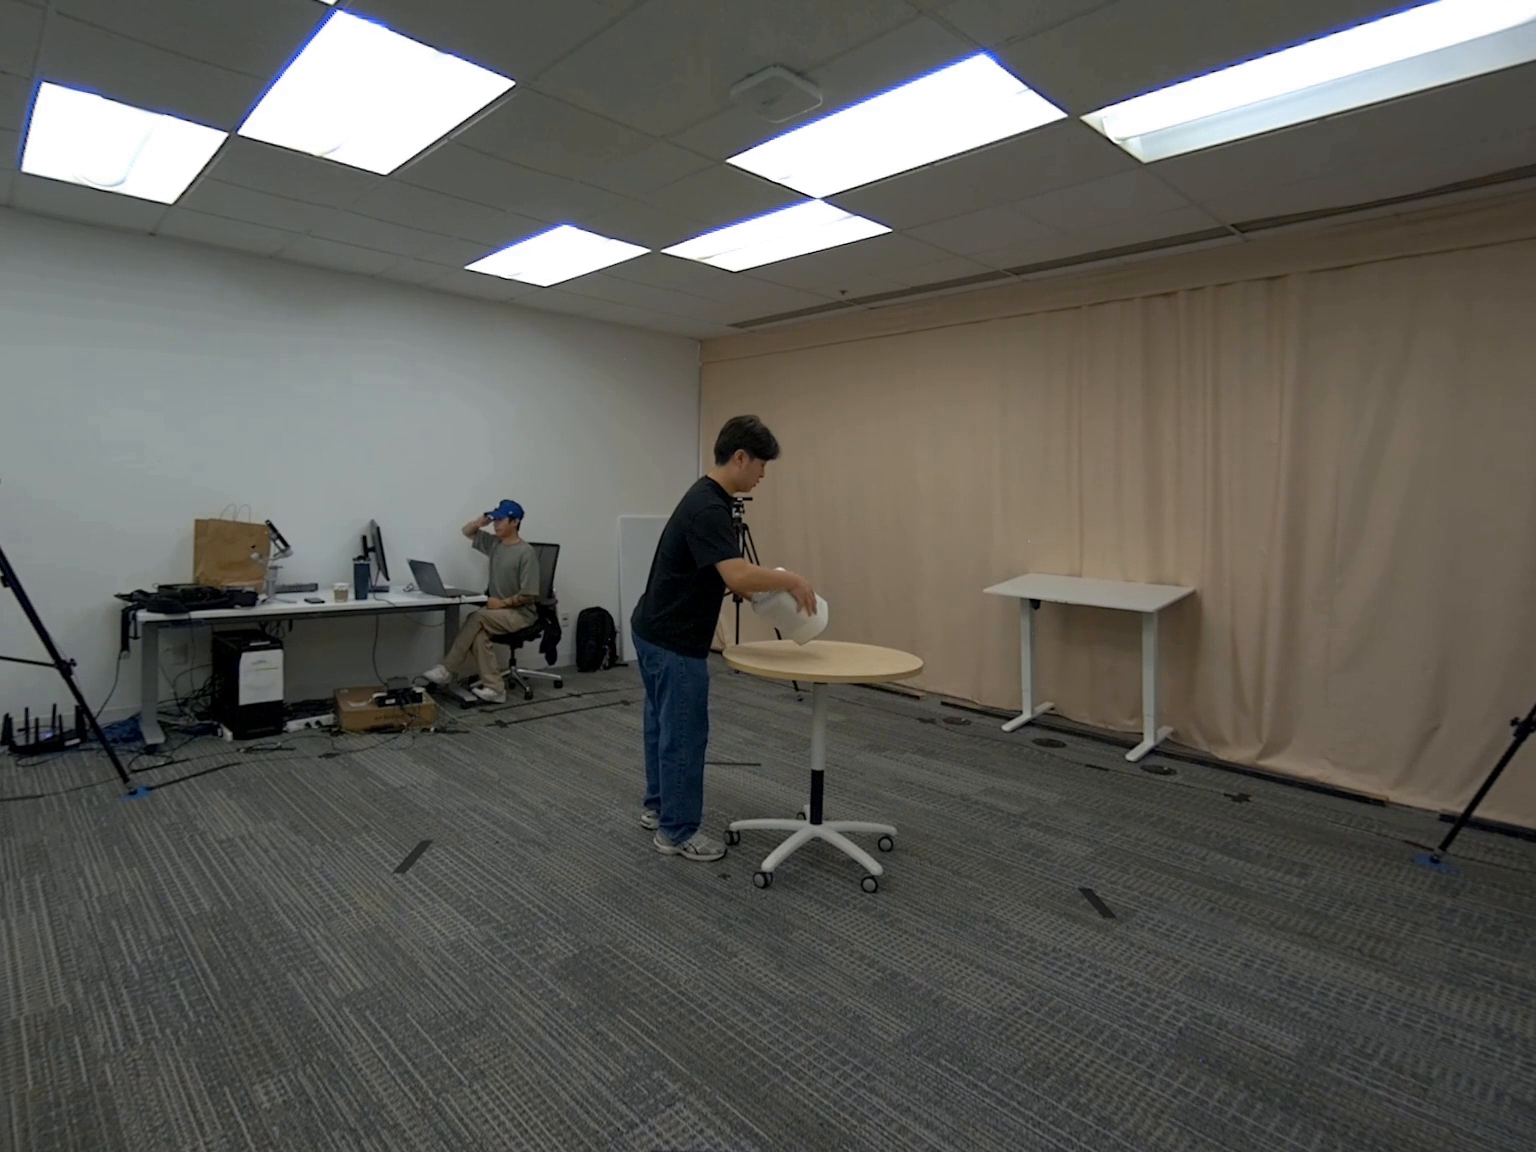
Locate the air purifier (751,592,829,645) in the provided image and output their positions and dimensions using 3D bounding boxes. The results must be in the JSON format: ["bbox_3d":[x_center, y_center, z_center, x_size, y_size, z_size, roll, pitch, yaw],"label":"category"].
[{"bbox_3d":[0.074,0.113,3.210,0.259,0.174,0.172,38,-54,-23],"label":"air purifier"}]
